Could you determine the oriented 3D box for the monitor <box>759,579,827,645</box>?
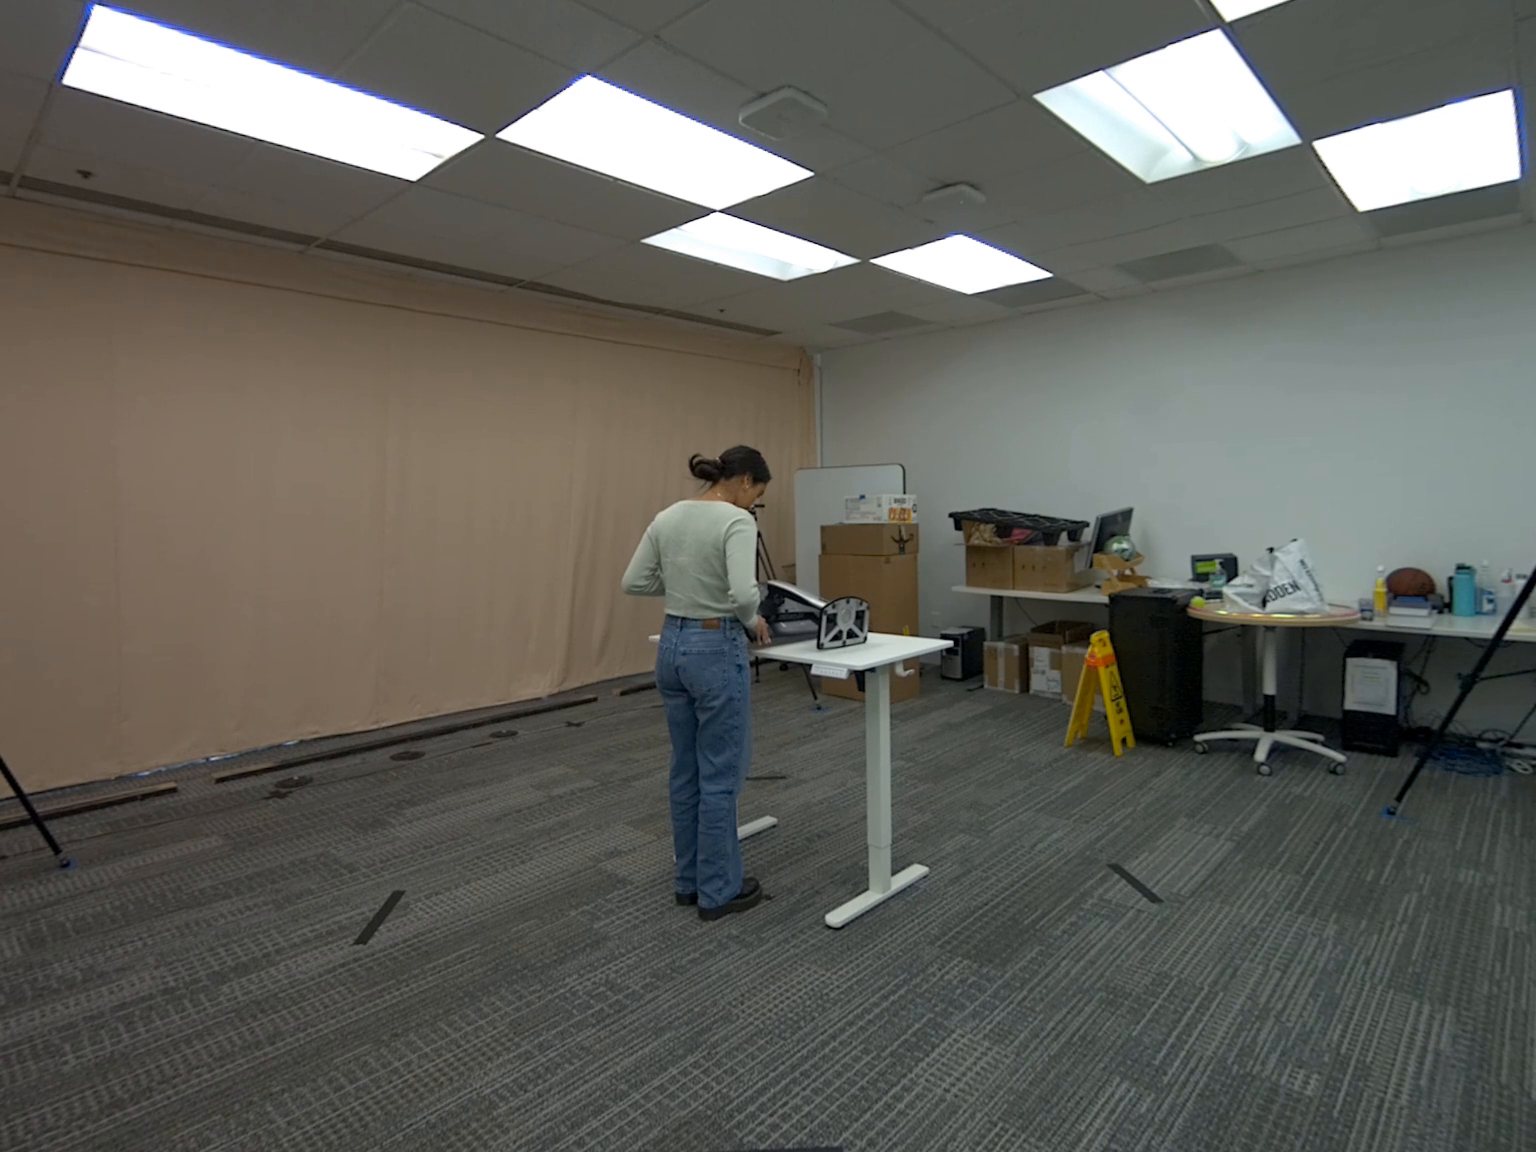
[{"bbox_3d":[0.103,0.113,3.131,0.541,0.186,0.521,14,8,43],"label":"monitor"}]
